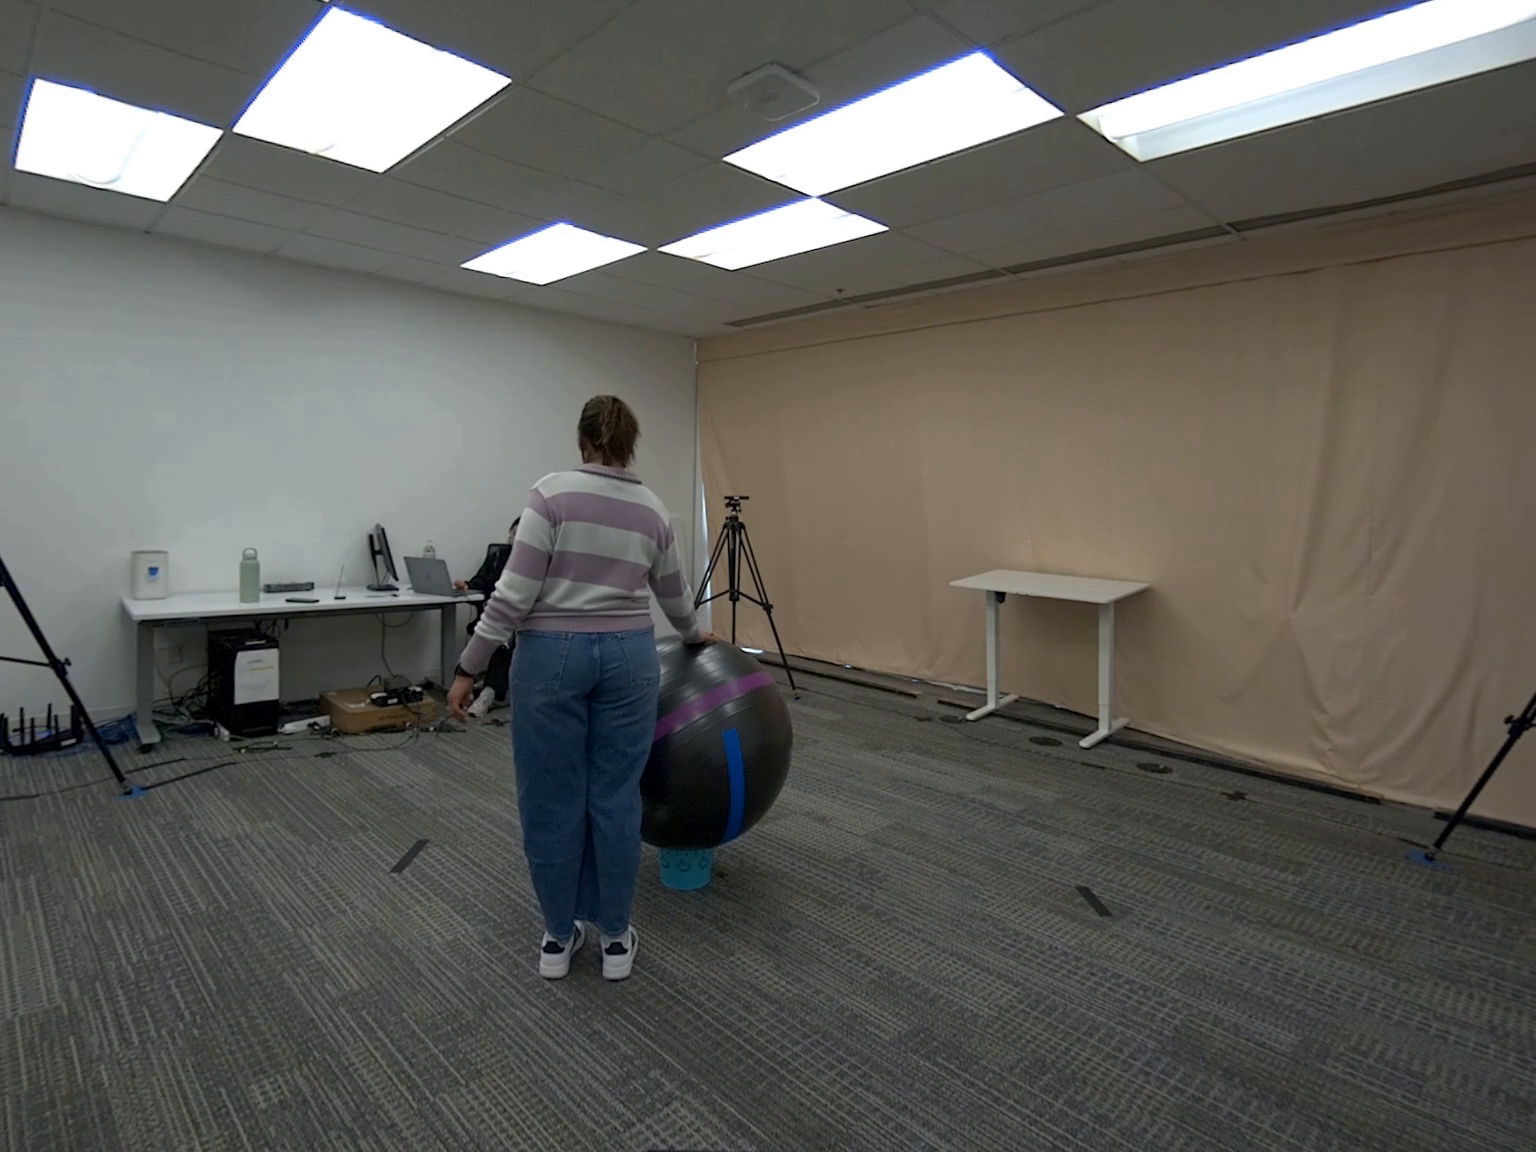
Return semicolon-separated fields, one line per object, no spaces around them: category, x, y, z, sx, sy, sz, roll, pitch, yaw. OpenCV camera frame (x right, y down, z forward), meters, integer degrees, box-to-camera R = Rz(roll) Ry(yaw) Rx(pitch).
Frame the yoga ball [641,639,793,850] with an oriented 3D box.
yoga ball;-0.290;0.596;3.047;0.757;0.756;0.761;1;4;-1
